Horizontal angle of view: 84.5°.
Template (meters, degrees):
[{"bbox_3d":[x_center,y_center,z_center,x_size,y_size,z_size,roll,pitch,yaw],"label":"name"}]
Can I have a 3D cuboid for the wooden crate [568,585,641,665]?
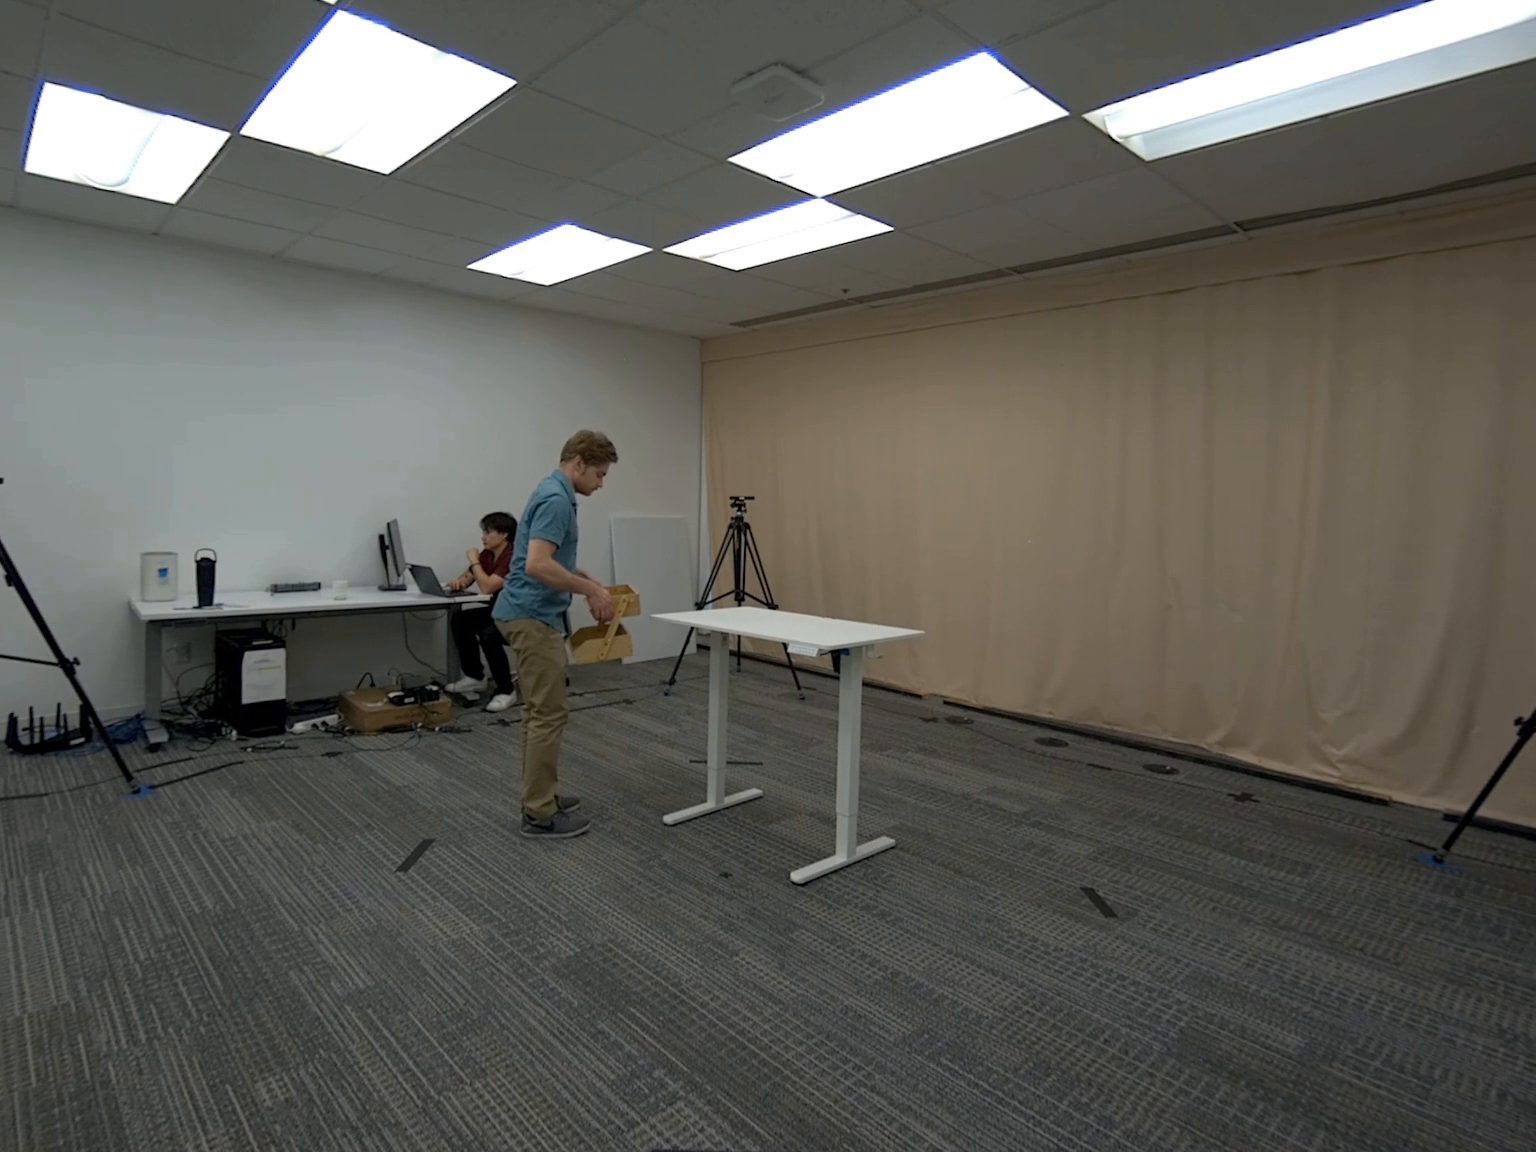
[{"bbox_3d":[-0.740,0.195,3.632,0.299,0.271,0.329,-6,8,-13],"label":"wooden crate"}]
